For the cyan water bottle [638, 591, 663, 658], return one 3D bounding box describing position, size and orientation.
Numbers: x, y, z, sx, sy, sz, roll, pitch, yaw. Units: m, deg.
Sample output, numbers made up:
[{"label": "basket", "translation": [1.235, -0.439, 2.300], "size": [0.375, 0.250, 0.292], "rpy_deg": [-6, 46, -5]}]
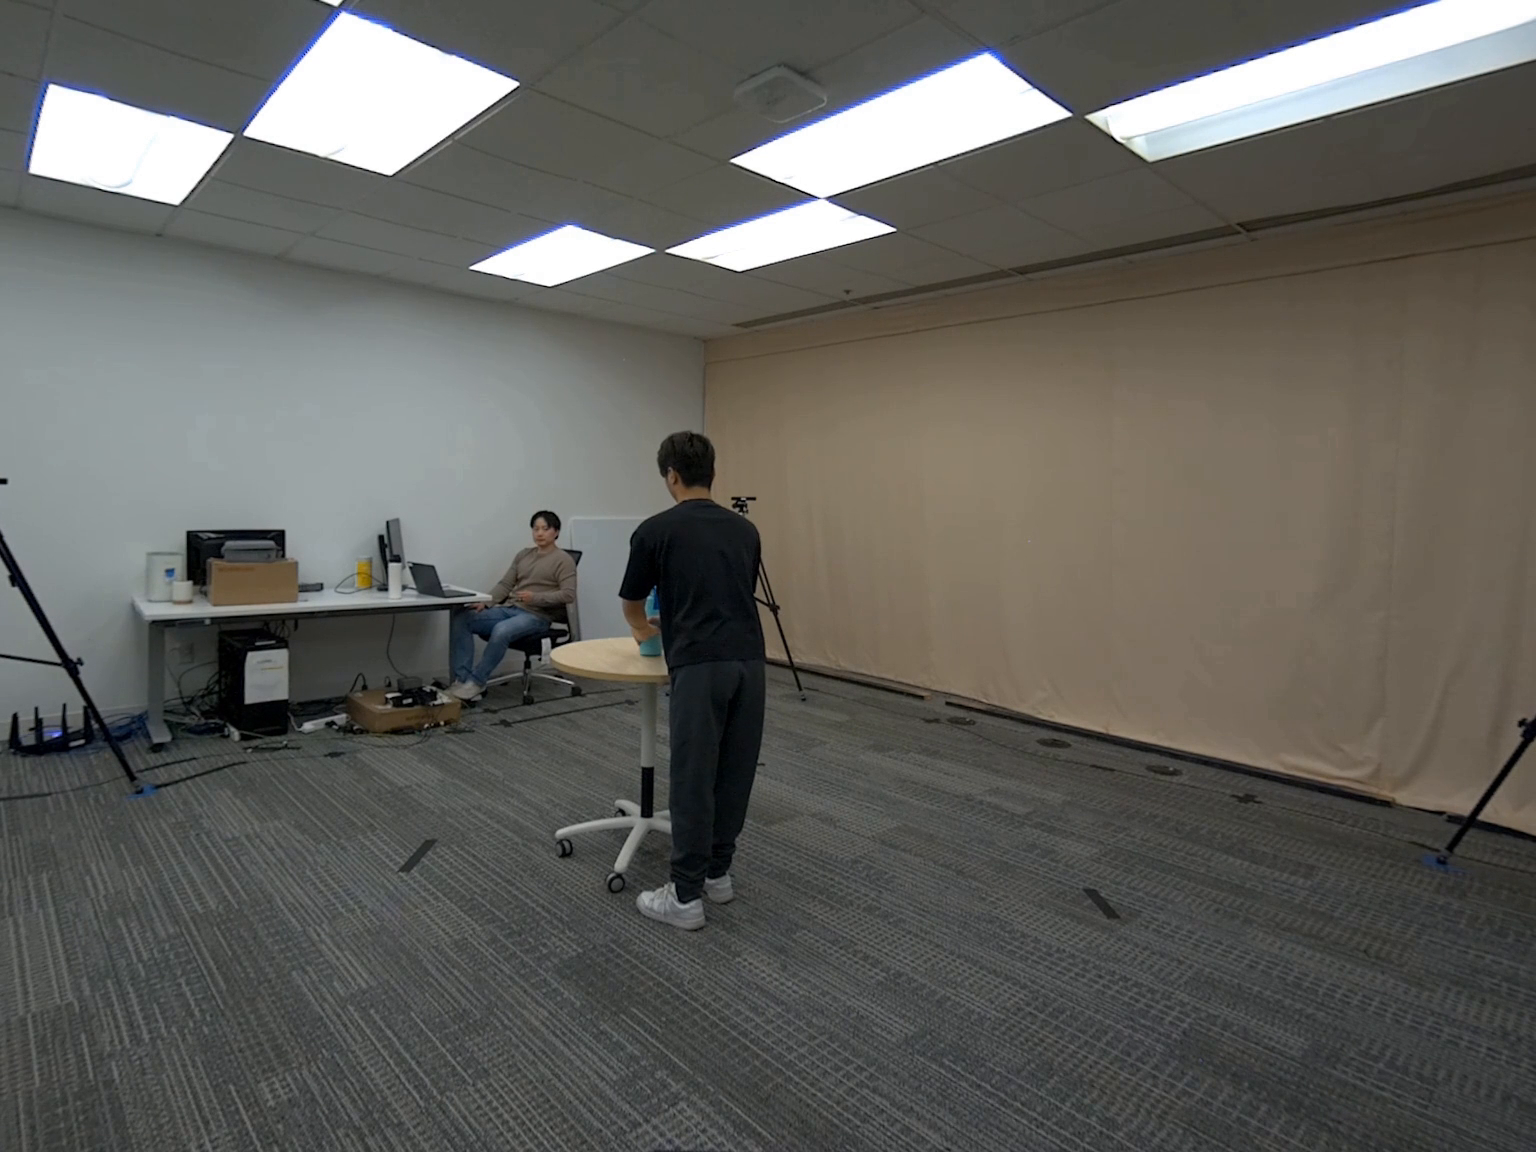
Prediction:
[{"label": "cyan water bottle", "translation": [-0.456, 0.163, 3.262], "size": [0.092, 0.283, 0.092], "rpy_deg": [2, -1, -1]}]
